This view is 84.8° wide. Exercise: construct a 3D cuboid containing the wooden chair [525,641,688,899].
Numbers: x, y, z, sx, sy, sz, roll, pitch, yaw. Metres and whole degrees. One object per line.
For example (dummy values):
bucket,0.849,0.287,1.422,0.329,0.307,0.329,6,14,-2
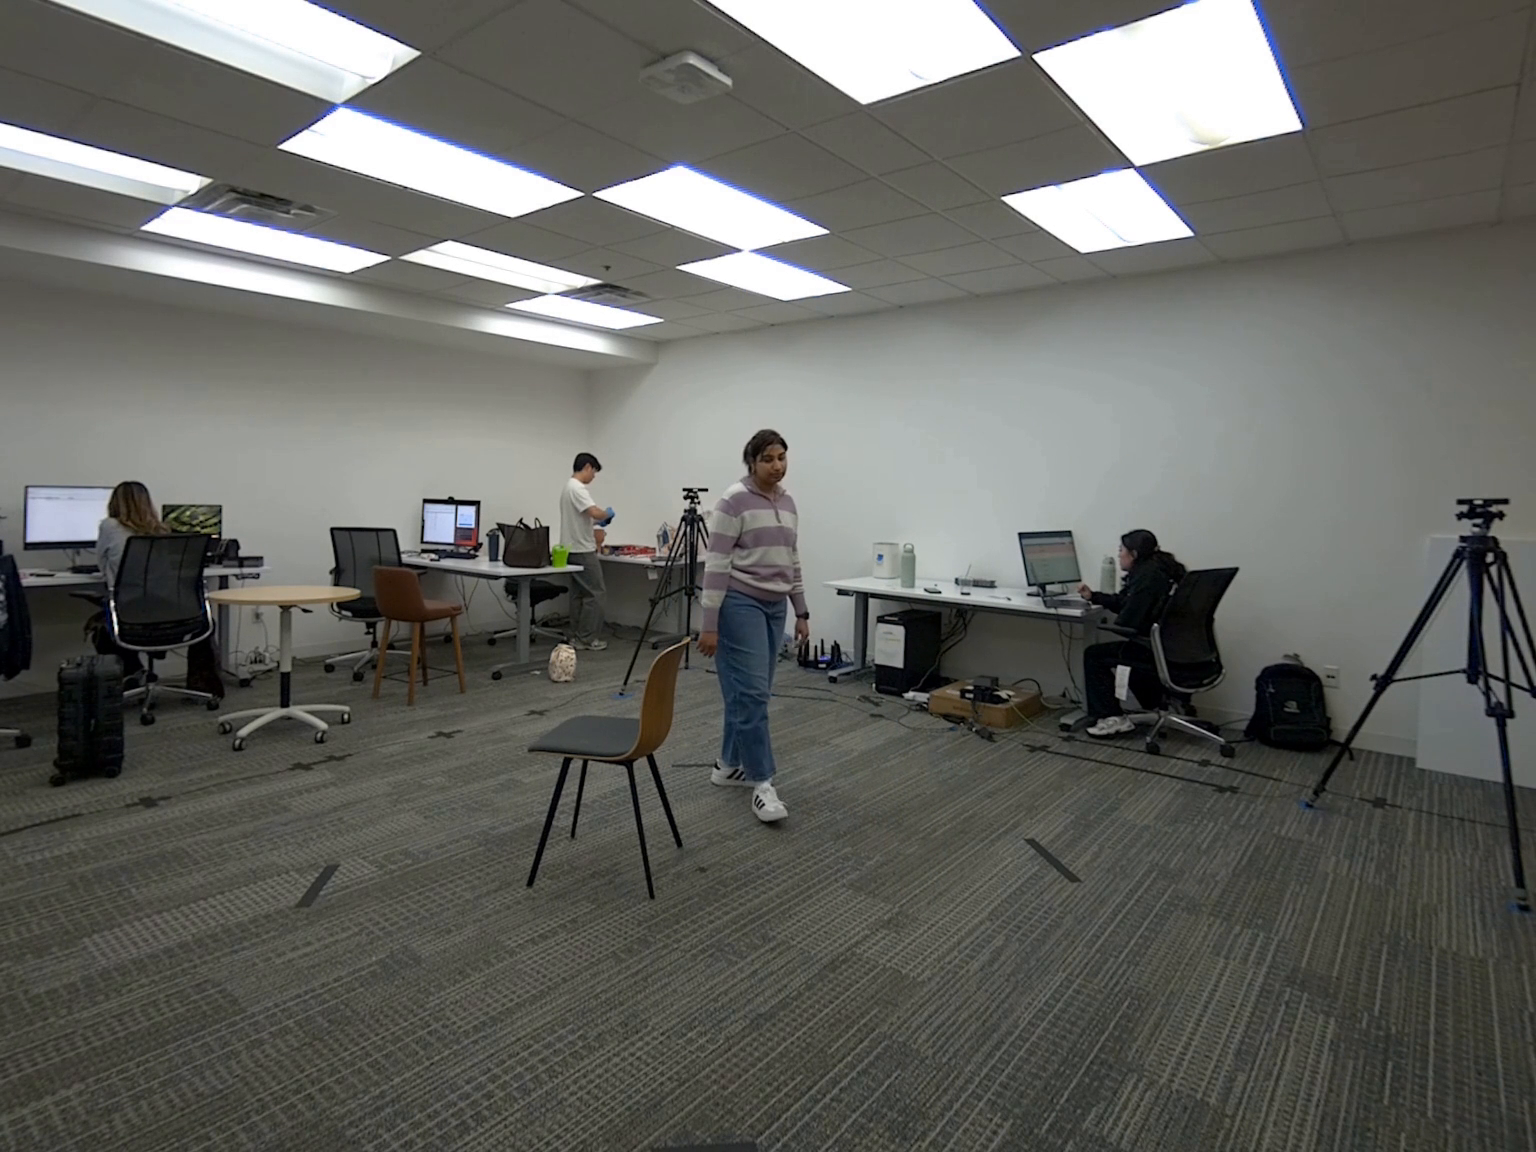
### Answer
wooden chair,-0.594,0.637,3.101,0.529,0.875,0.474,5,4,9
